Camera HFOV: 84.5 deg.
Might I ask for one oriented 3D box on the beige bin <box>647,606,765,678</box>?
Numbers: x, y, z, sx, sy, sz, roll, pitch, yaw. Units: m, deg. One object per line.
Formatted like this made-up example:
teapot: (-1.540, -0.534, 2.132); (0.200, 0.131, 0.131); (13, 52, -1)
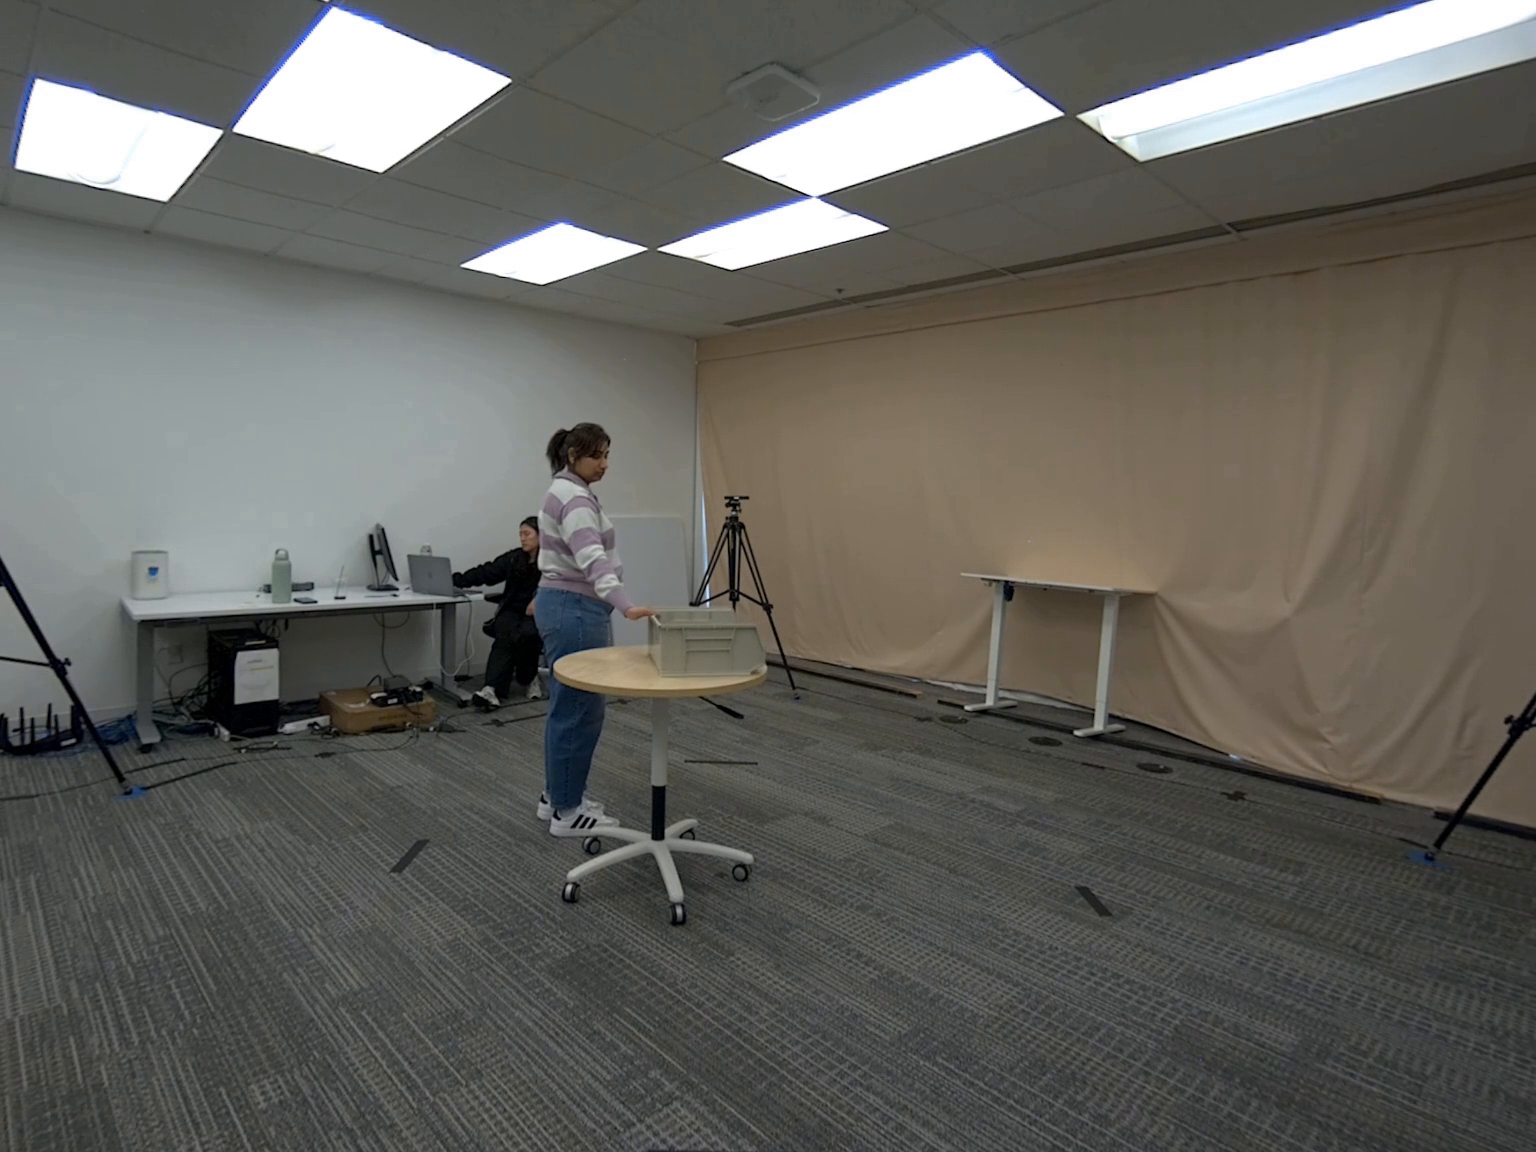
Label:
beige bin: (-0.245, 0.234, 3.060); (0.373, 0.188, 0.428); (-1, 6, -13)
